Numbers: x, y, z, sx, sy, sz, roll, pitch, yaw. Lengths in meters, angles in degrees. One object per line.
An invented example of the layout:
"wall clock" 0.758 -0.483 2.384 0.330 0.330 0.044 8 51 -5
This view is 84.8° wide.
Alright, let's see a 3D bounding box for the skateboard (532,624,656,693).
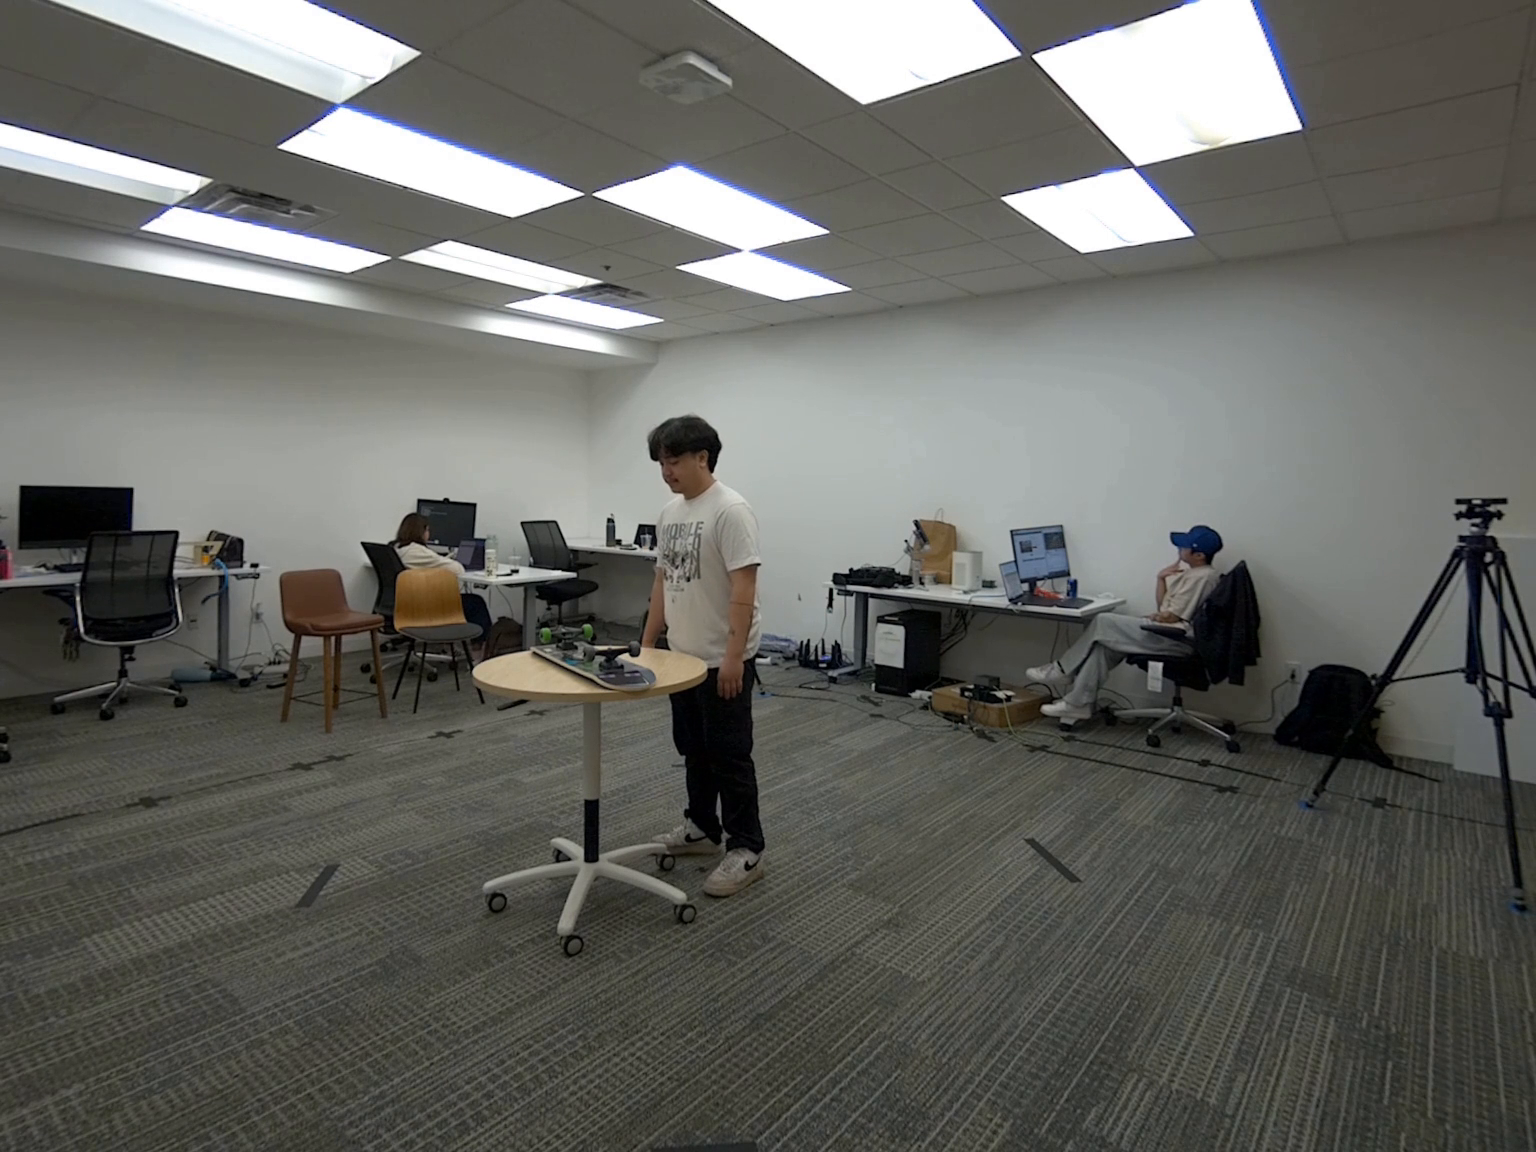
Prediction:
"skateboard" -0.614 0.249 2.811 0.188 0.110 0.810 -4 7 -32
